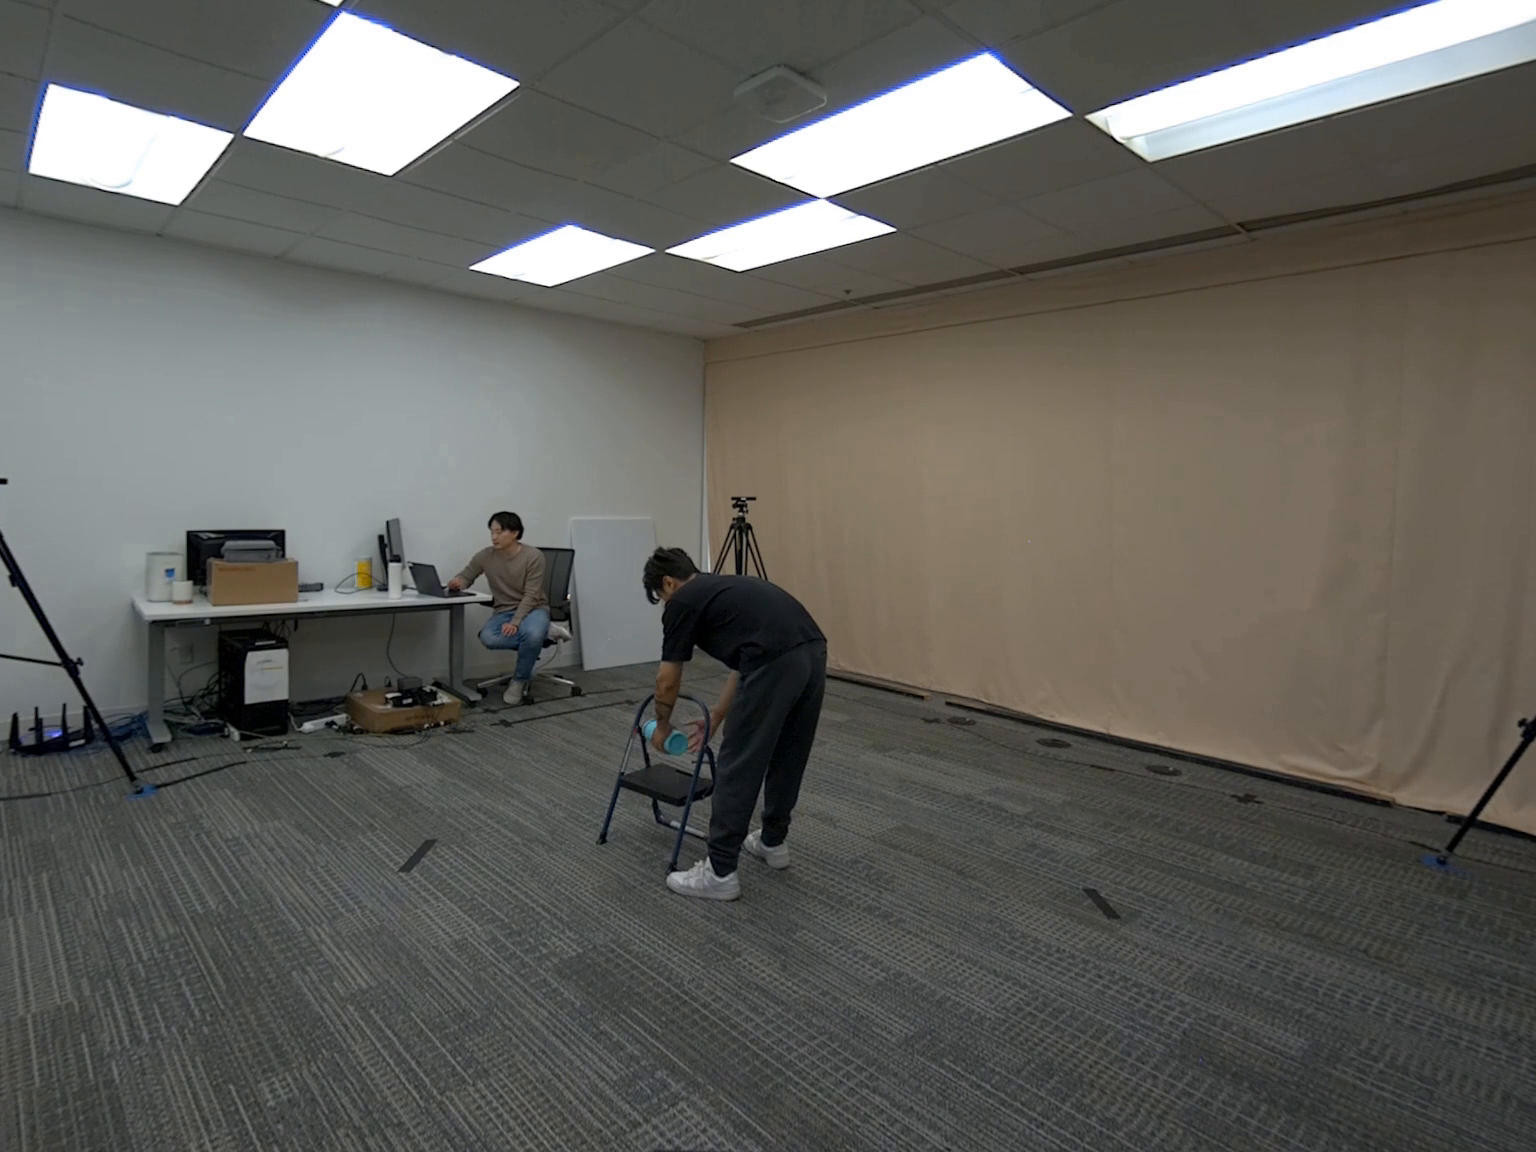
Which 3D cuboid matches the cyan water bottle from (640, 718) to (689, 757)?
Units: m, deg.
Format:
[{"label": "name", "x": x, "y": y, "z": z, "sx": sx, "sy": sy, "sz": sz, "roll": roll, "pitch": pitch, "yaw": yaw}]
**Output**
[{"label": "cyan water bottle", "x": -0.429, "y": 0.634, "z": 3.331, "sx": 0.090, "sy": 0.092, "sz": 0.290, "roll": -1, "pitch": 5, "yaw": -29}]
